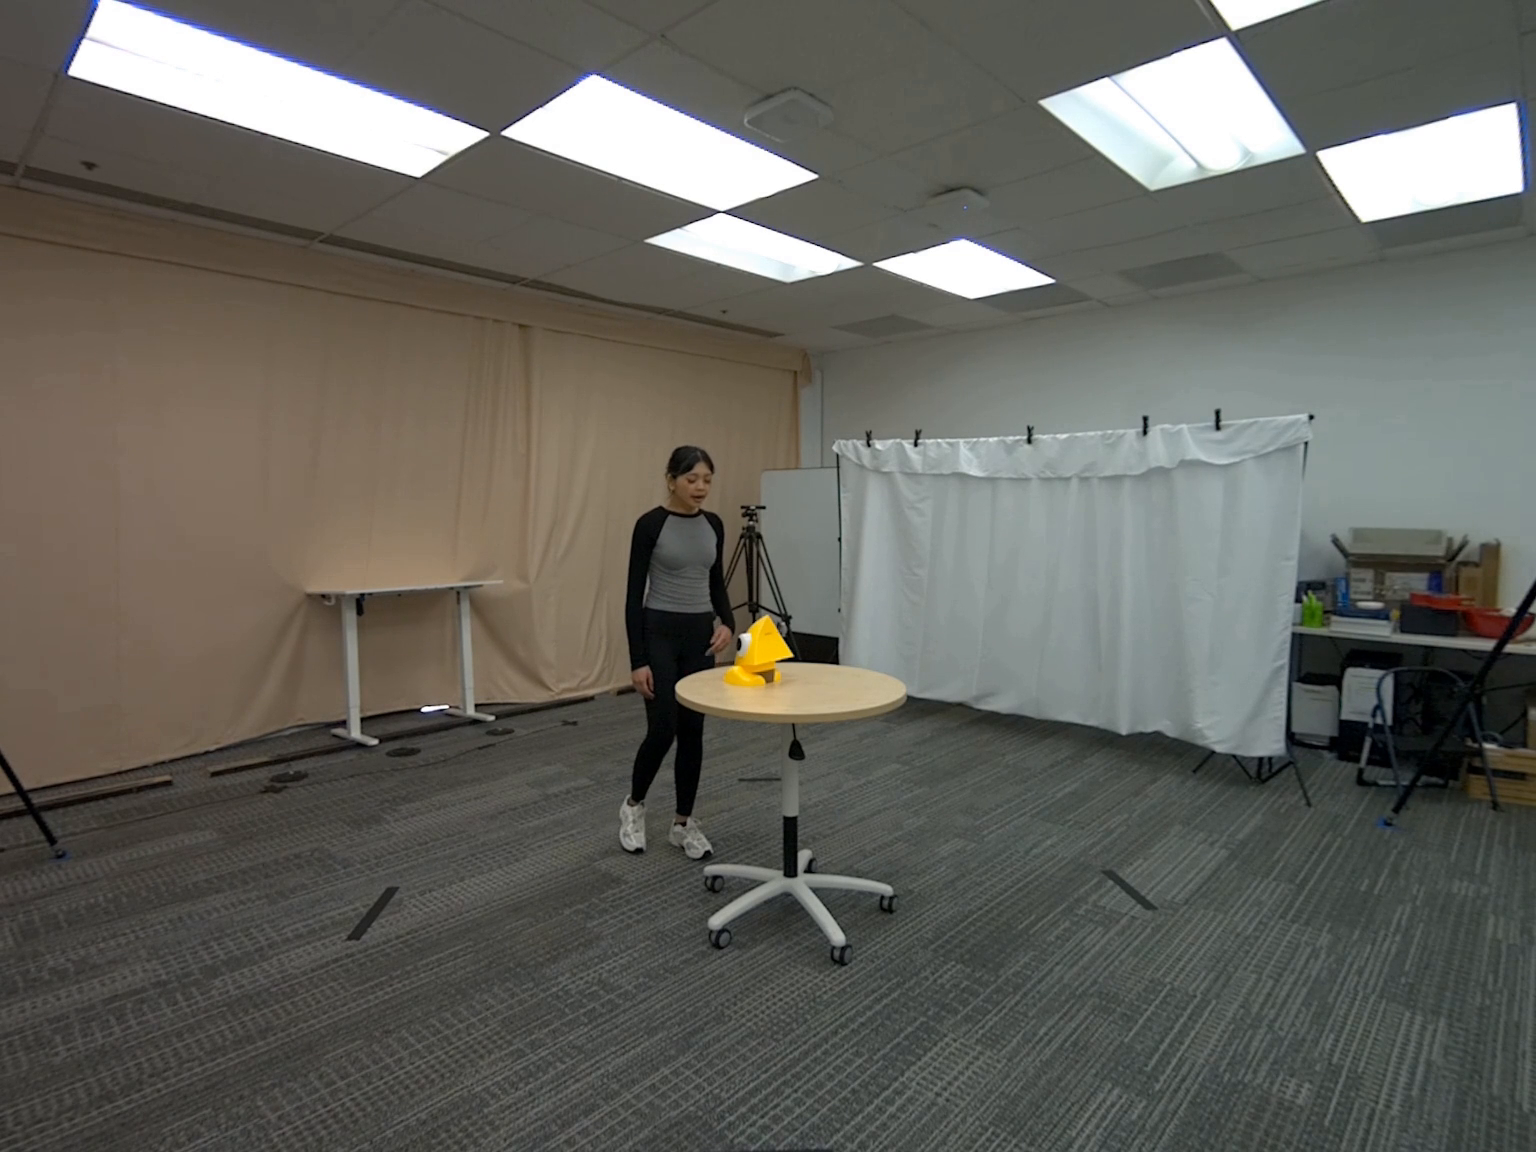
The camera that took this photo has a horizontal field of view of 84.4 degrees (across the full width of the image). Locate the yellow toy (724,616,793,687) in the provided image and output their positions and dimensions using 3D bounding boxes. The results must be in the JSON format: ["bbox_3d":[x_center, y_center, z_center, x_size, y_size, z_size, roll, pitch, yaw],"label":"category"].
[{"bbox_3d":[-0.043,0.245,2.897,0.199,0.230,0.198,3,6,41],"label":"yellow toy"}]
